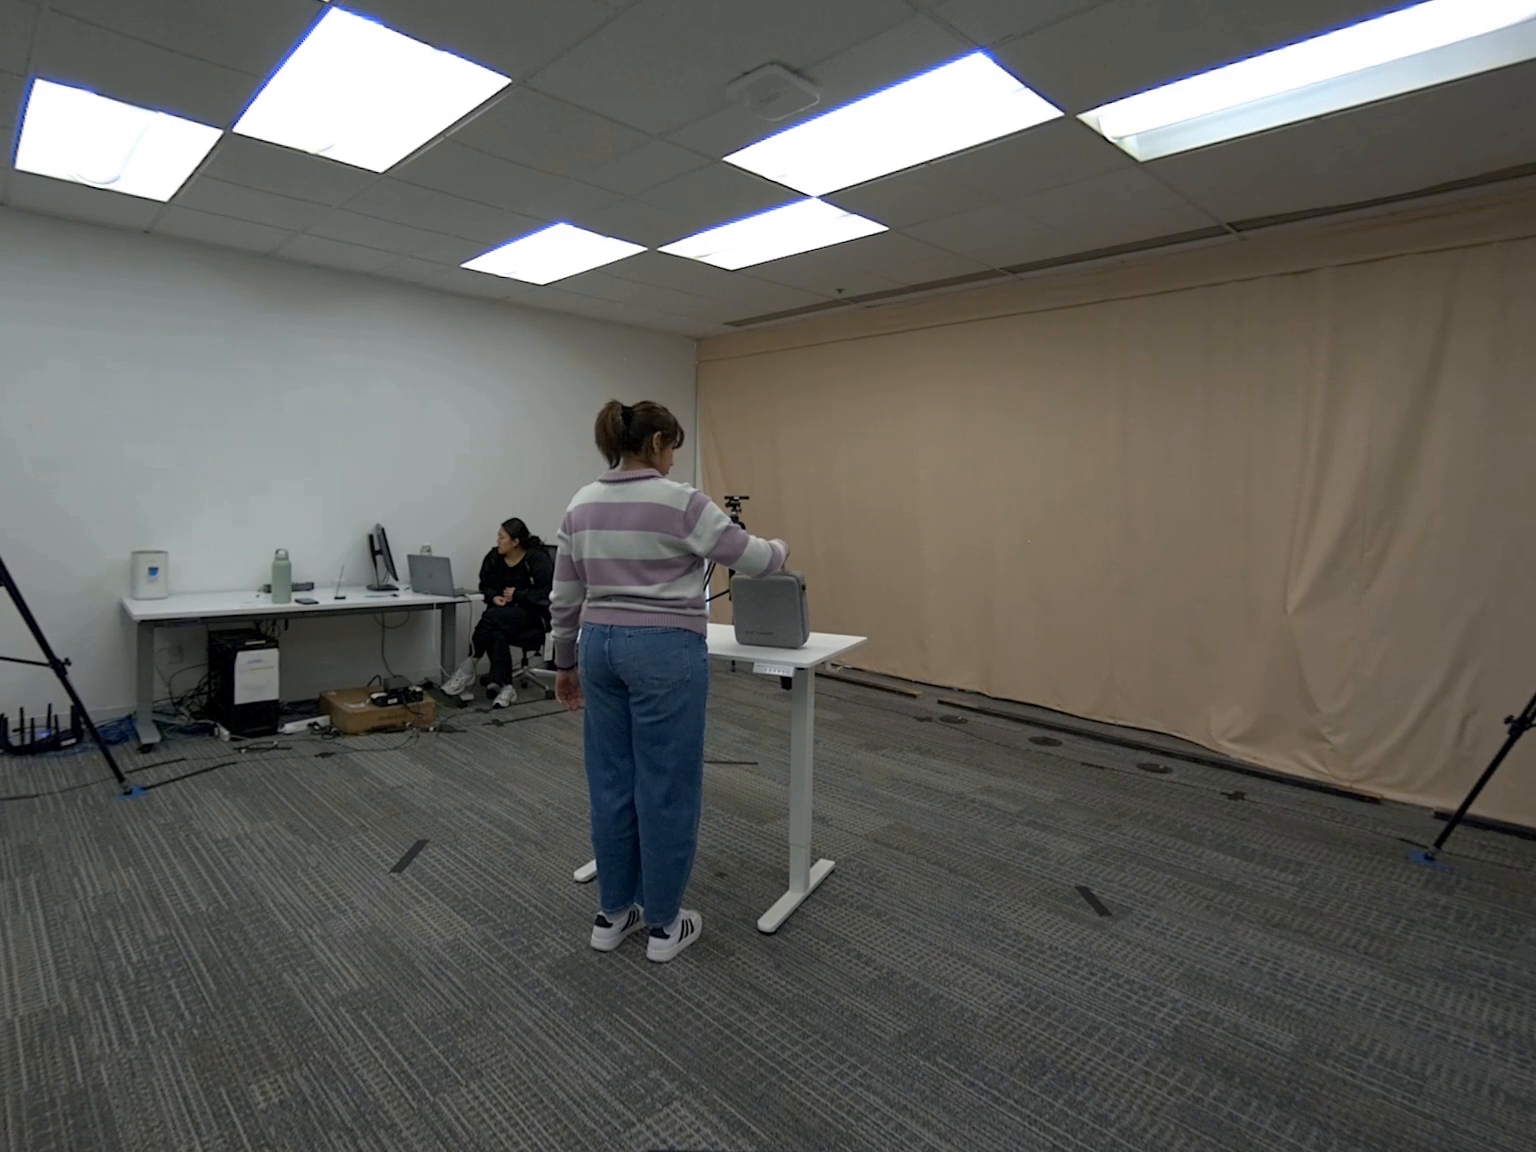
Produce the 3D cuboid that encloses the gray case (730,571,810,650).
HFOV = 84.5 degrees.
[{"bbox_3d":[-0.004,0.109,2.868,0.262,0.258,0.103,2,15,26],"label":"gray case"}]
